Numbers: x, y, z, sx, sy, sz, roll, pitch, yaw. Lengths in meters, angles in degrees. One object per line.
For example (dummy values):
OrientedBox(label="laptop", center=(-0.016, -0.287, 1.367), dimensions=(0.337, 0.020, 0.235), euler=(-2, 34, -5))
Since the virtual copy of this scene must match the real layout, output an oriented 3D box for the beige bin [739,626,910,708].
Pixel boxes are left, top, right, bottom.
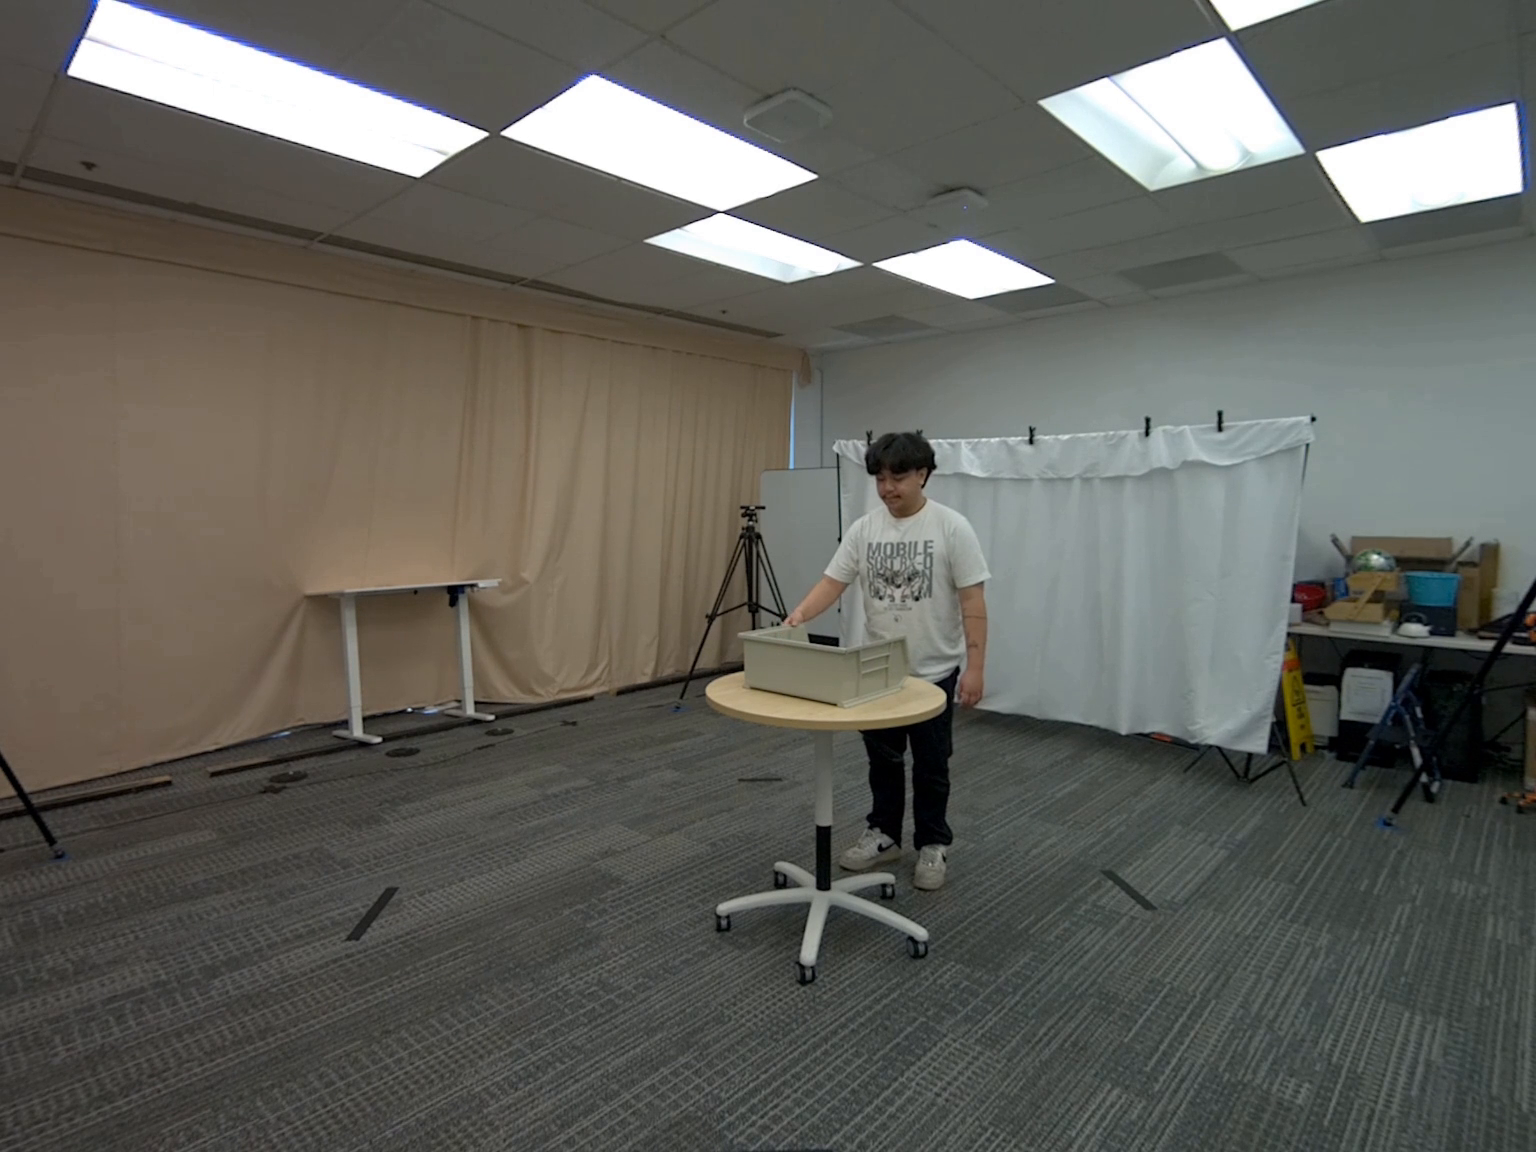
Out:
OrientedBox(label="beige bin", center=(0.187, 0.280, 2.742), dimensions=(0.436, 0.188, 0.366), euler=(5, 8, 40))
